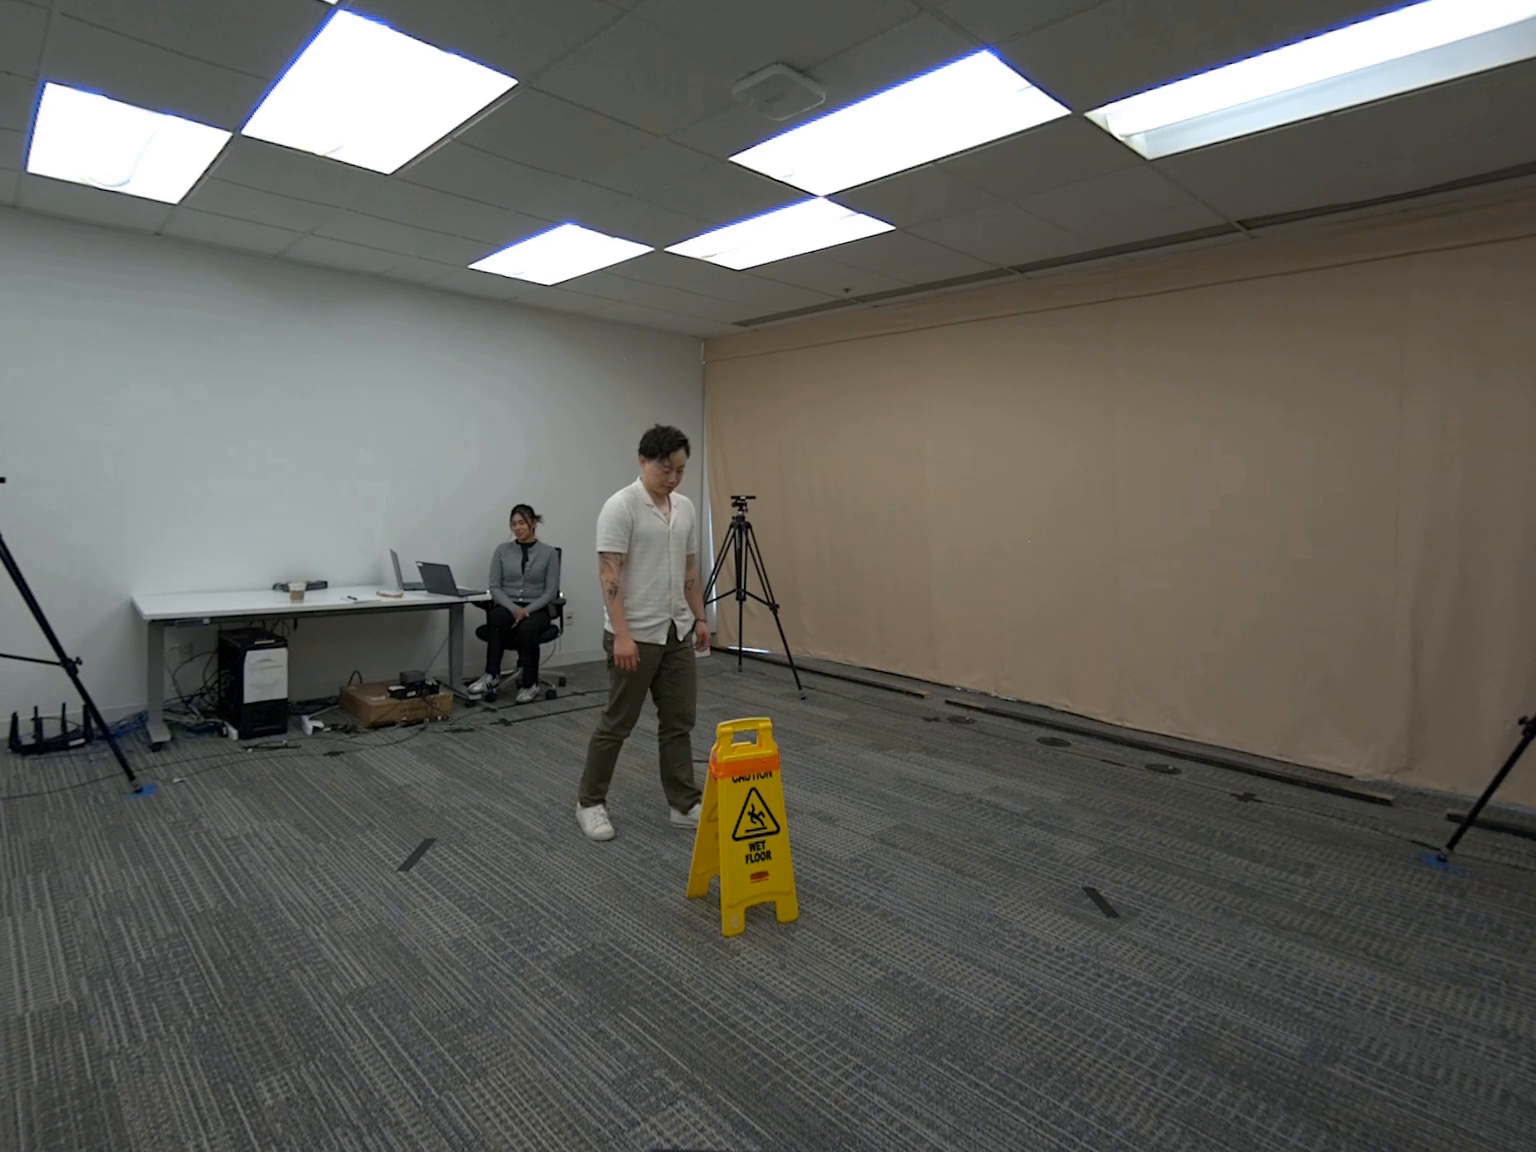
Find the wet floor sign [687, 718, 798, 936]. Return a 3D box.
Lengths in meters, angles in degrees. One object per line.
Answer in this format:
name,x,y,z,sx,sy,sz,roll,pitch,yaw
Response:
wet floor sign,-0.092,0.804,2.833,0.277,0.645,0.296,0,3,-29
